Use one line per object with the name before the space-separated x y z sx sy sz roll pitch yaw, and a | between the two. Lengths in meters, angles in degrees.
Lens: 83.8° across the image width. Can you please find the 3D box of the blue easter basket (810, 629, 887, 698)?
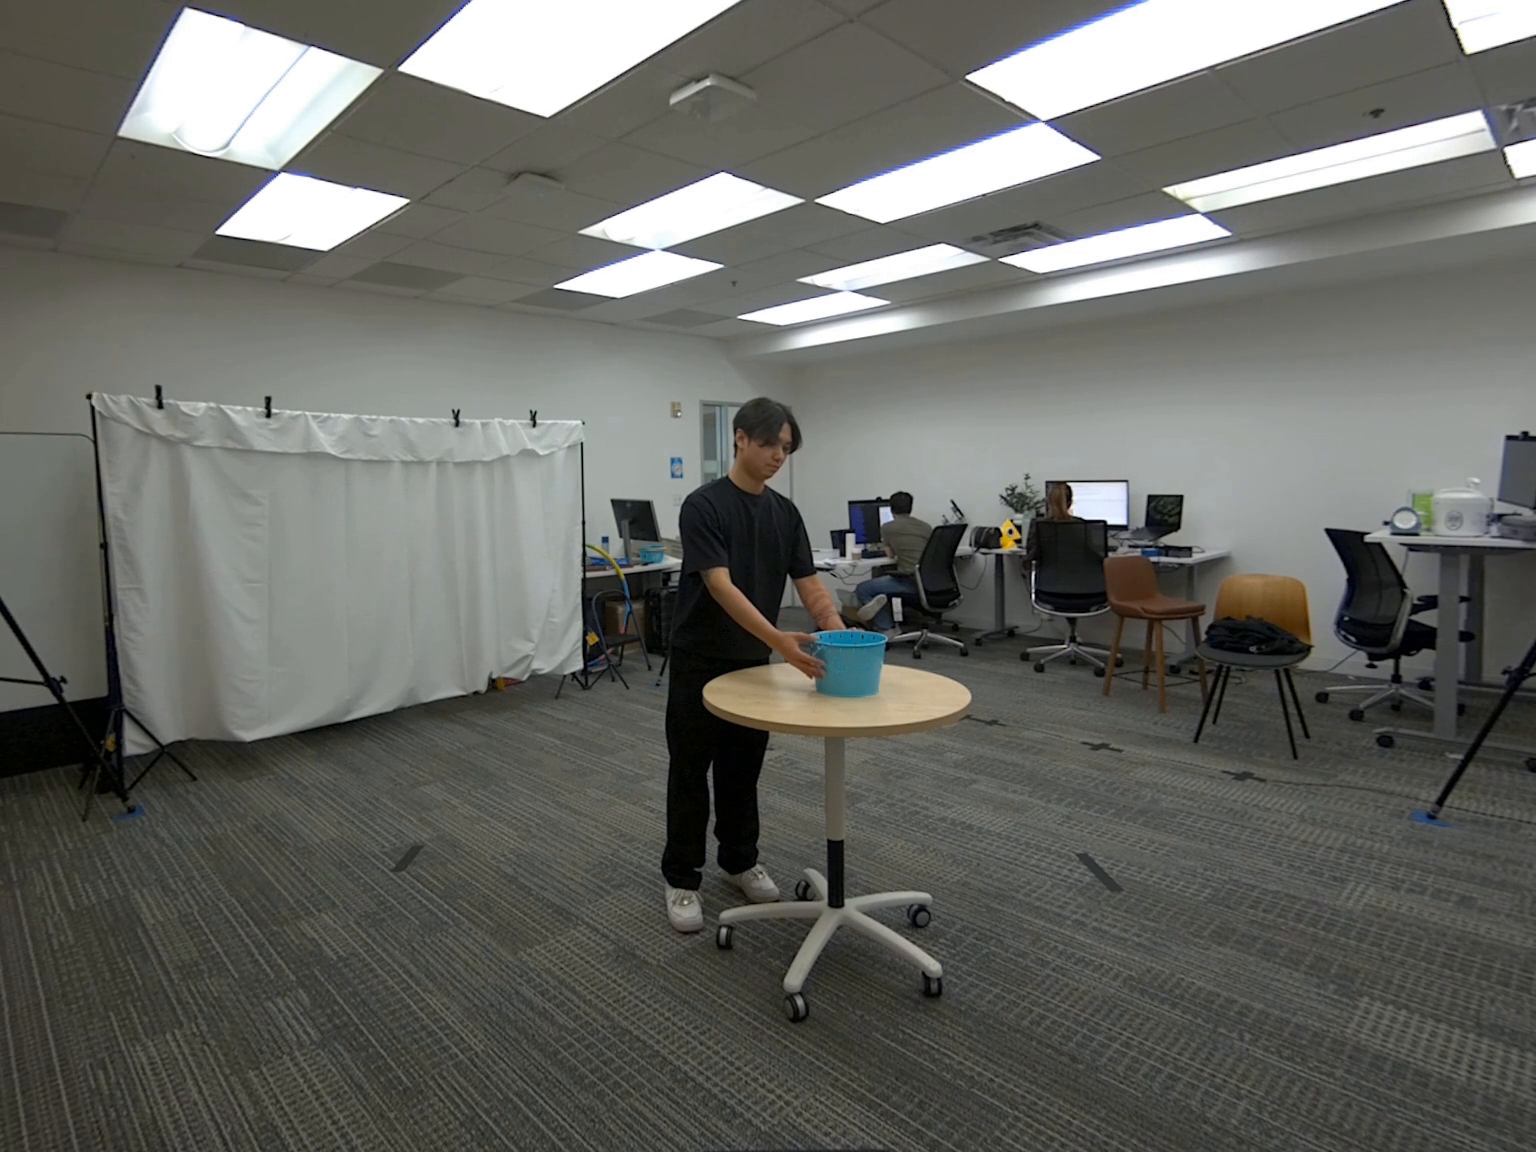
blue easter basket | 0.232 0.255 2.471 0.243 0.155 0.245 -2 7 -2
